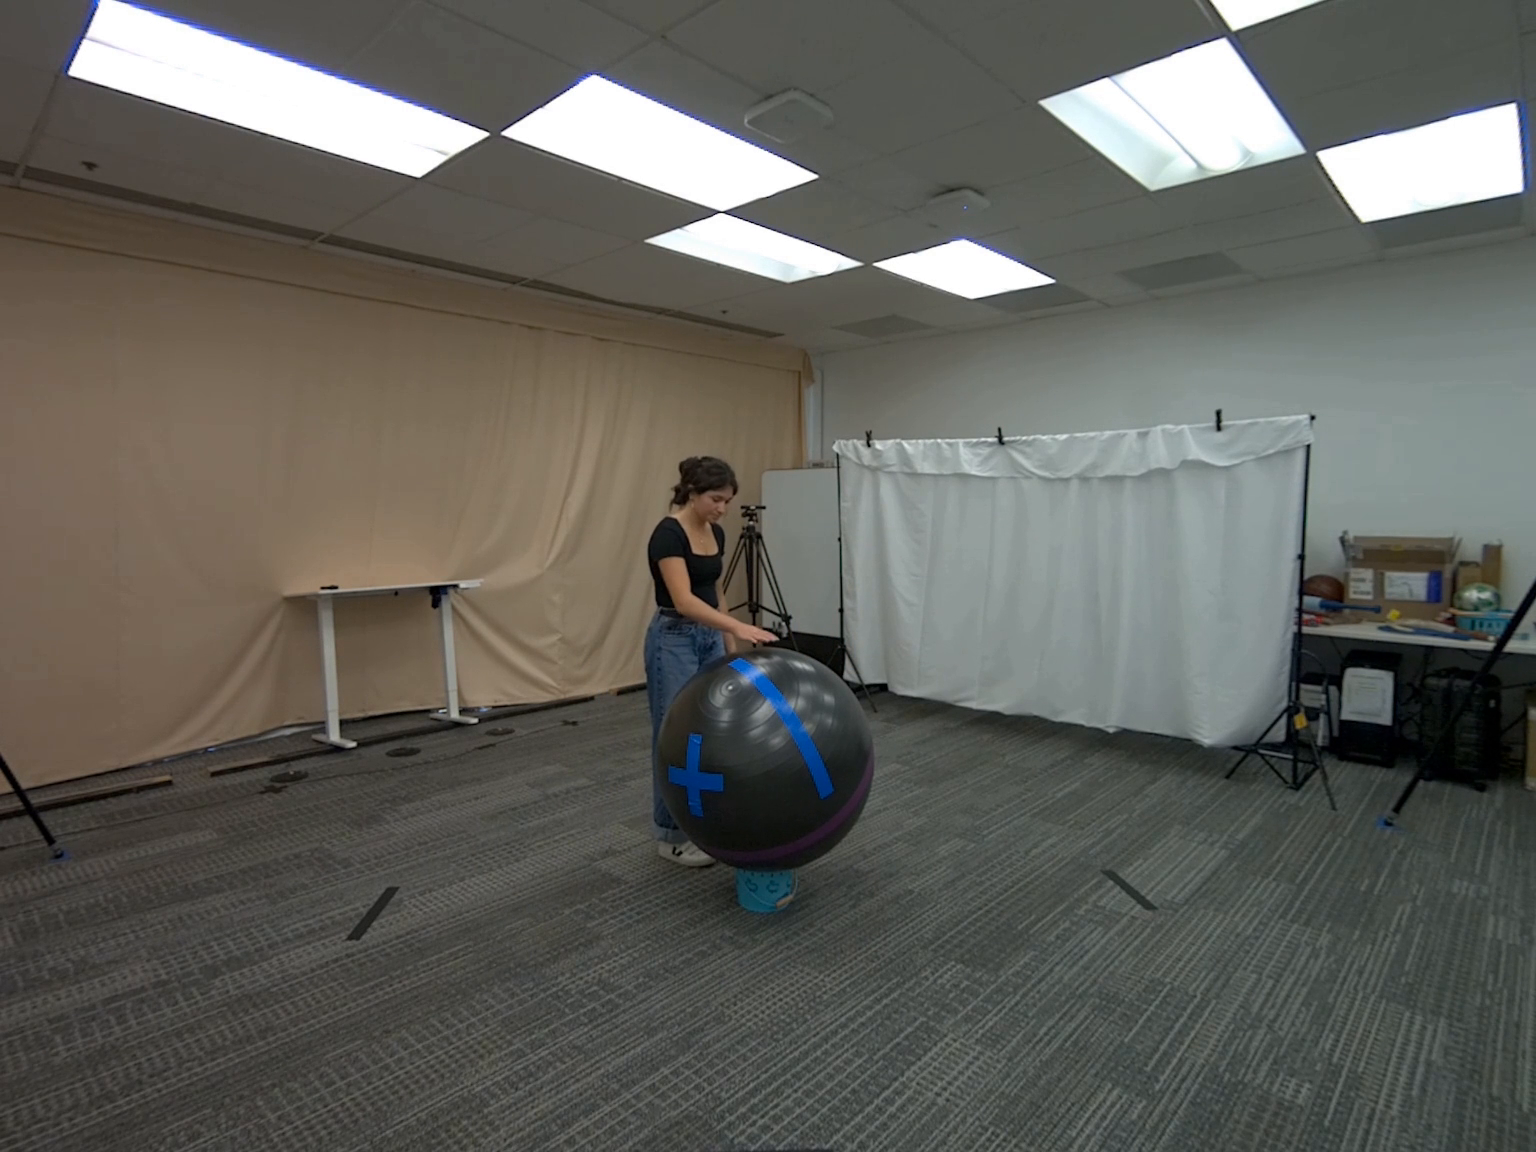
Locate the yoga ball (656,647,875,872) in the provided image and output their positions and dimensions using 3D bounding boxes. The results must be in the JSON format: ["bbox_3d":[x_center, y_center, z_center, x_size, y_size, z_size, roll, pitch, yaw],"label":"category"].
[{"bbox_3d":[-0.010,0.634,2.946,0.757,0.756,0.760,0,4,-2],"label":"yoga ball"}]
